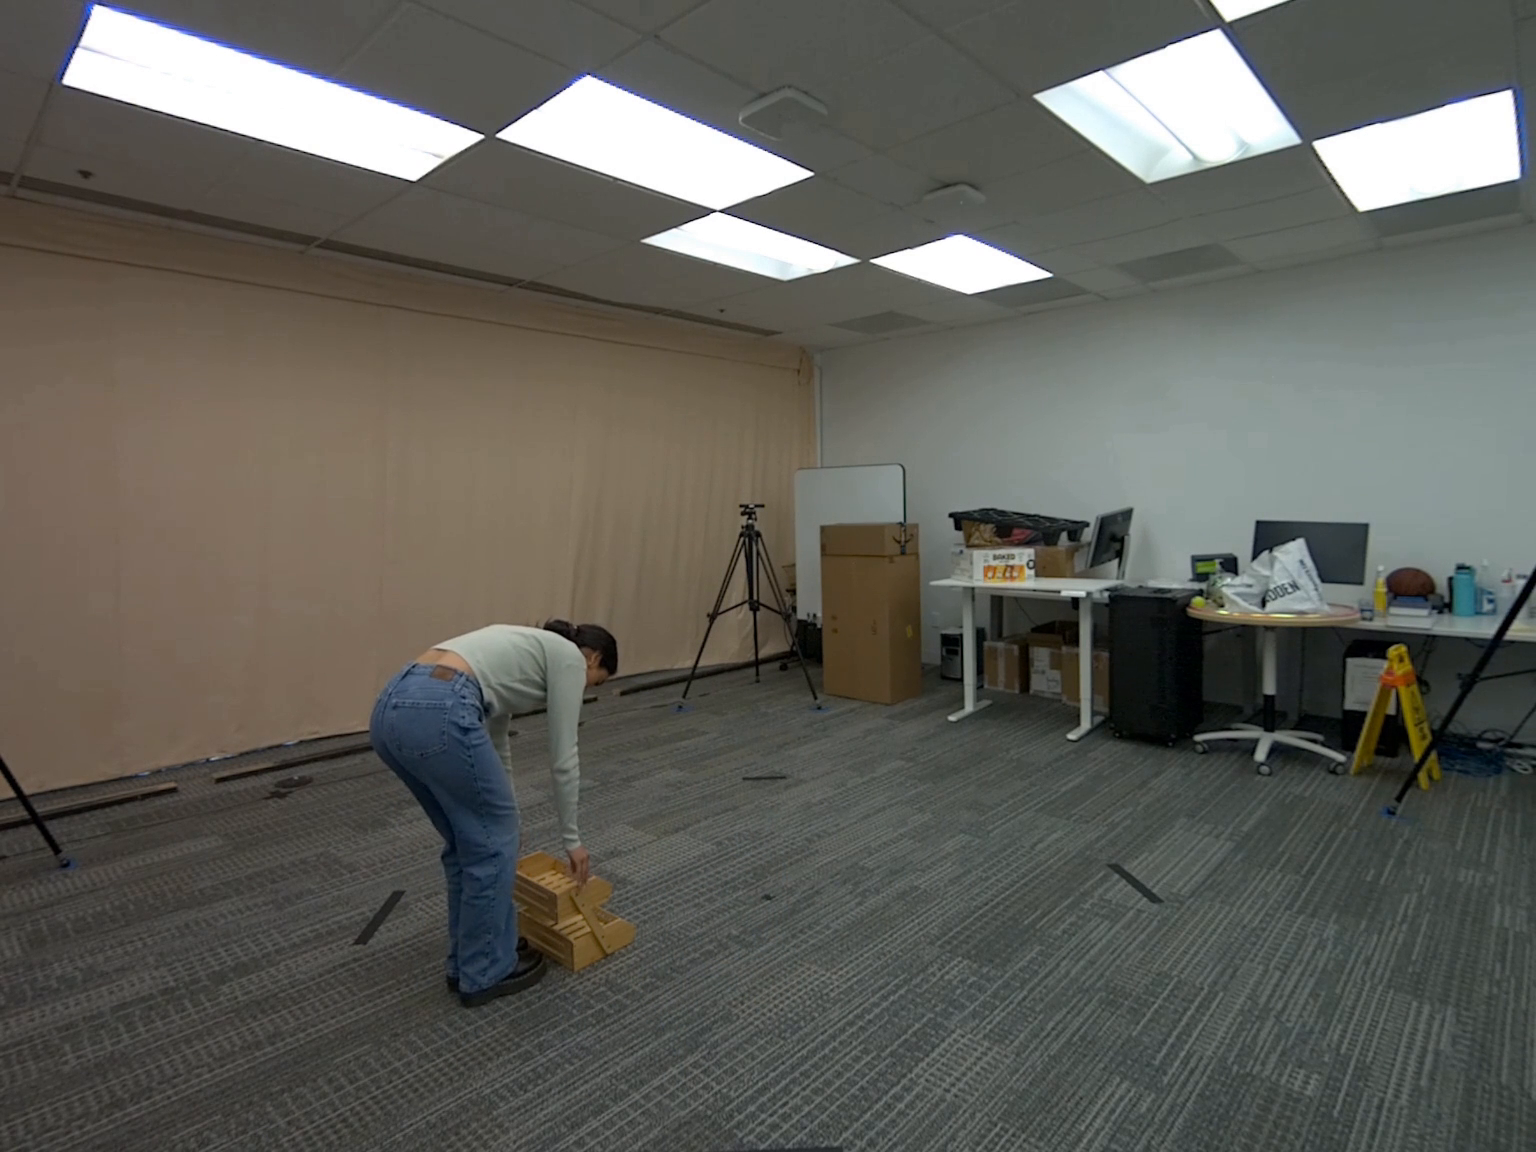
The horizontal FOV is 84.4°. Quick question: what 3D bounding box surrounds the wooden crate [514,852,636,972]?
[{"bbox_3d":[-0.635,1.043,2.693,0.335,0.272,0.293,3,6,42],"label":"wooden crate"}]
